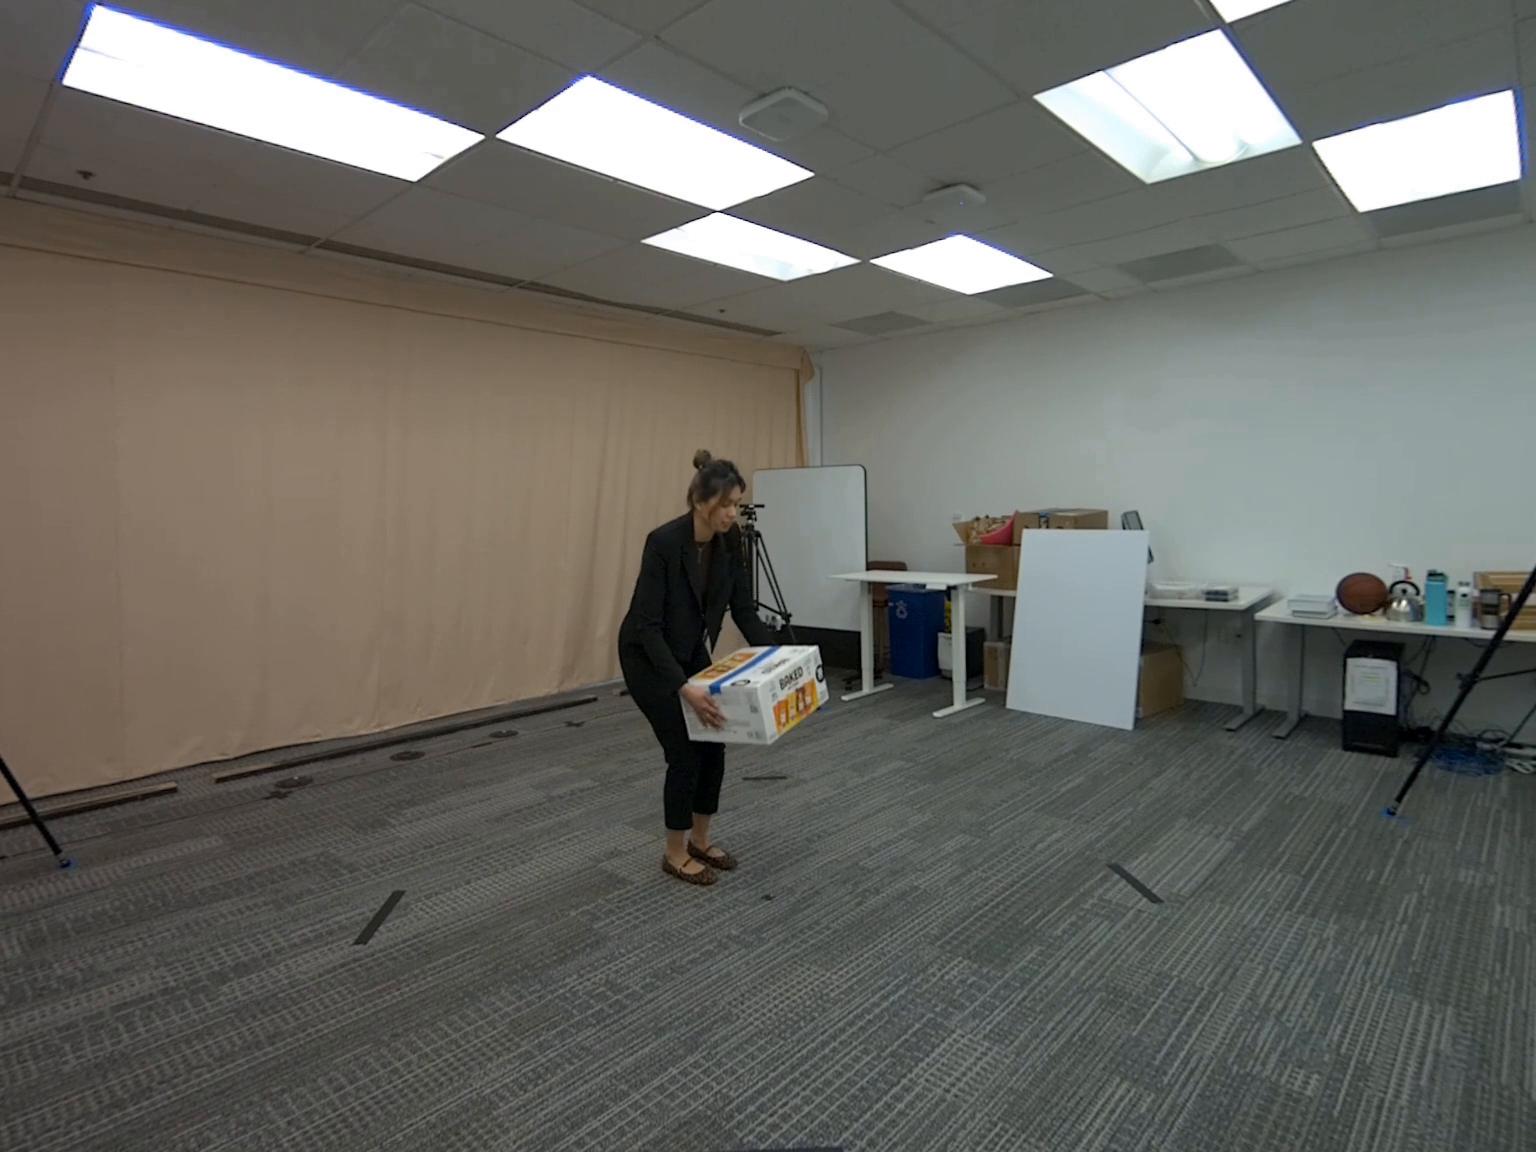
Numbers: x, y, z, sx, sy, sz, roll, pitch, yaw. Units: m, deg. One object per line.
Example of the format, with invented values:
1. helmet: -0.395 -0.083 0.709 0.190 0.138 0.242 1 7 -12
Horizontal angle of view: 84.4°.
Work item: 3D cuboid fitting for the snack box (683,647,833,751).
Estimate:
1. snack box: -0.042 0.414 2.951 0.350 0.204 0.396 -5 12 36
